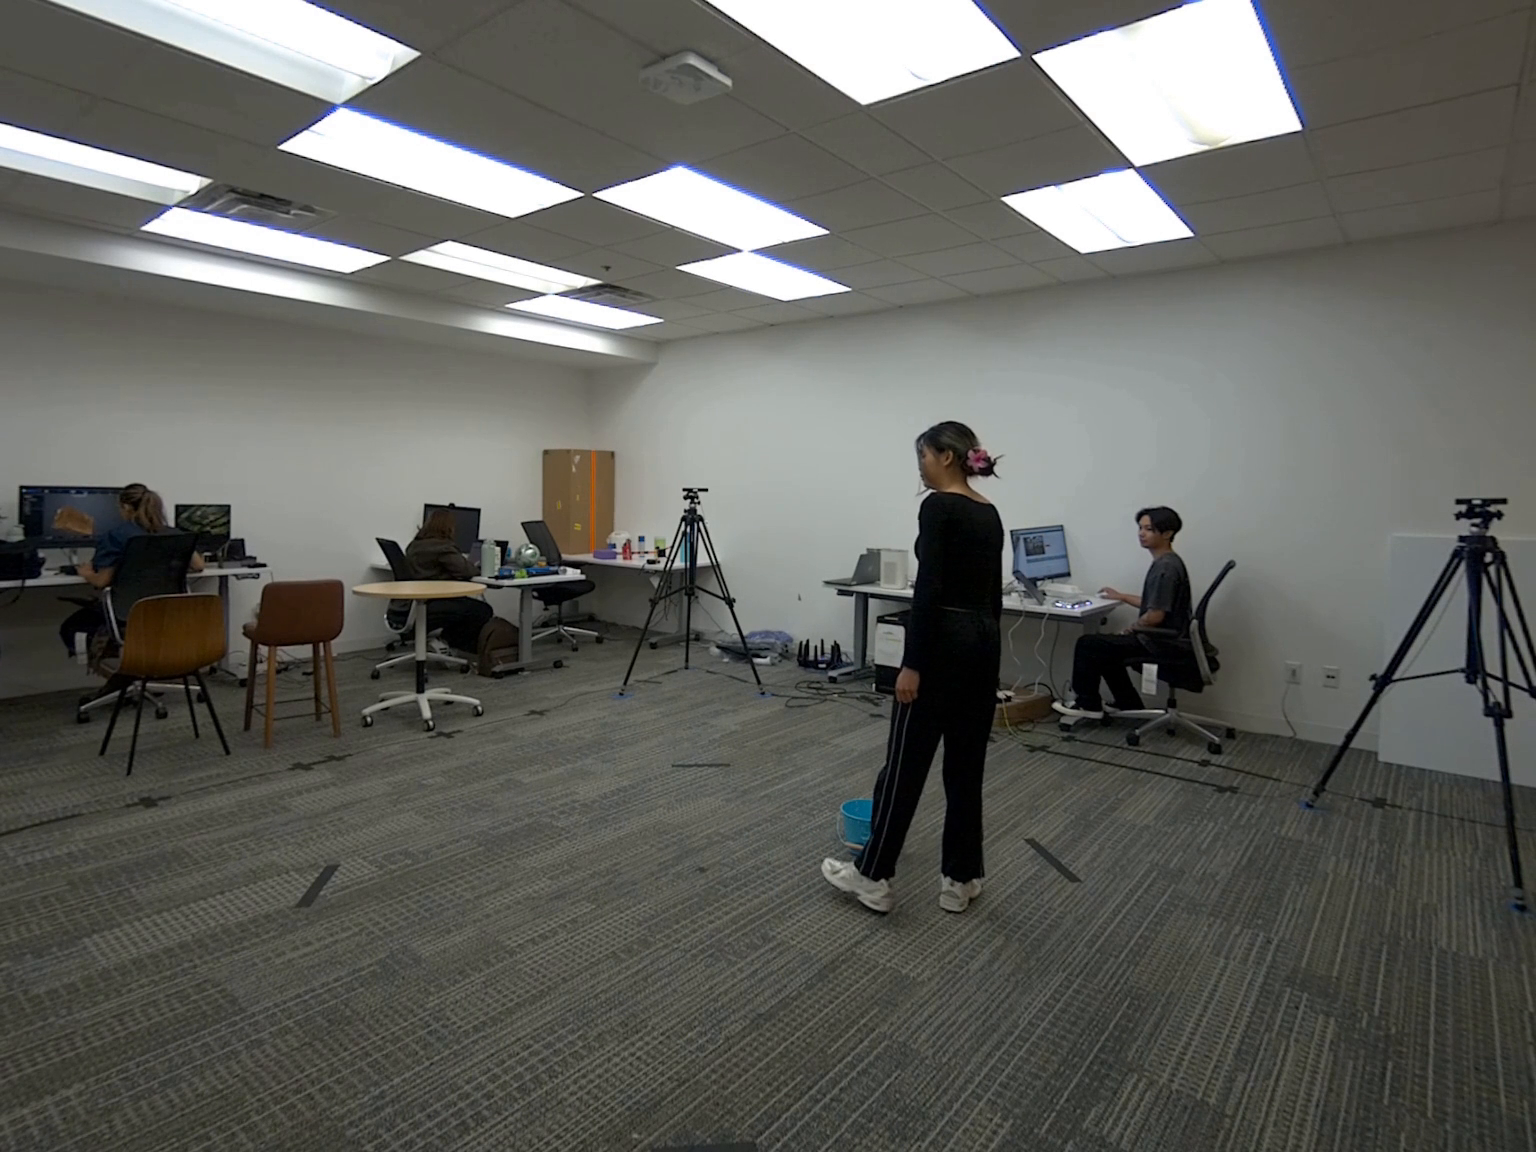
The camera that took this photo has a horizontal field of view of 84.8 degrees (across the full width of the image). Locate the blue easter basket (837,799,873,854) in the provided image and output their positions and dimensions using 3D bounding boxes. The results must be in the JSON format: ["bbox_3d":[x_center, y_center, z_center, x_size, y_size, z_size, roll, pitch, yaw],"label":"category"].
[{"bbox_3d":[0.387,0.987,3.340,0.243,0.155,0.245,1,5,-2],"label":"blue easter basket"}]
